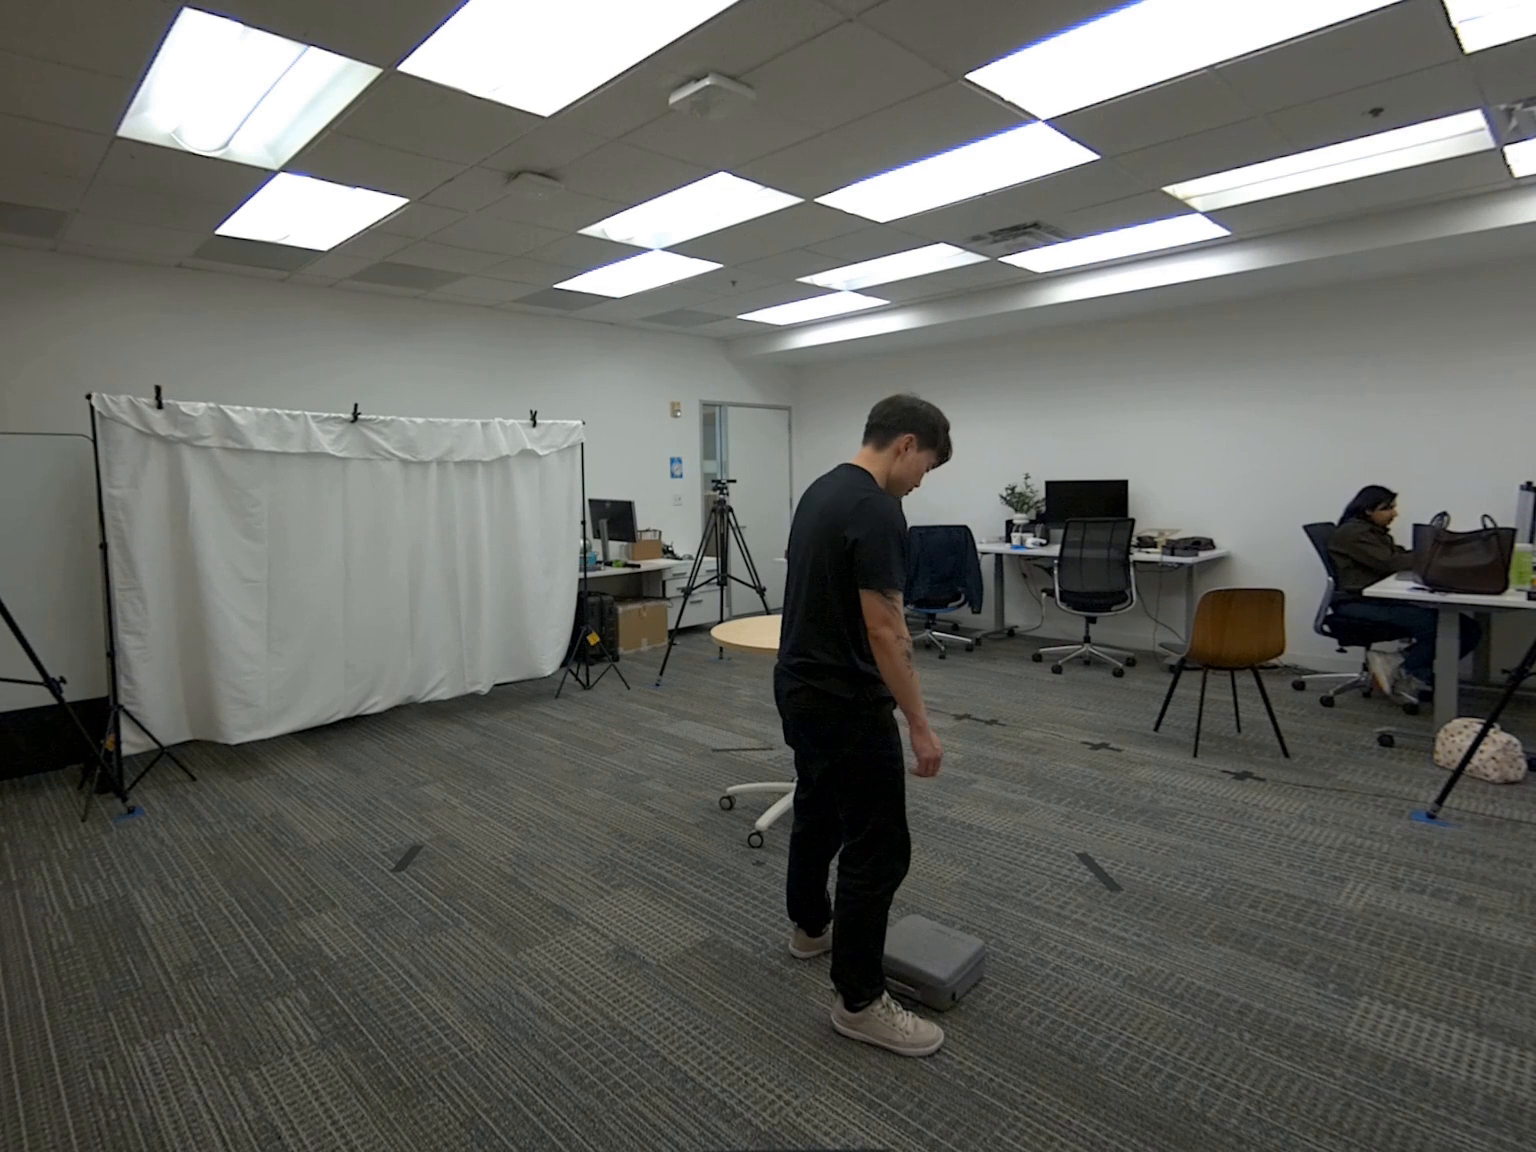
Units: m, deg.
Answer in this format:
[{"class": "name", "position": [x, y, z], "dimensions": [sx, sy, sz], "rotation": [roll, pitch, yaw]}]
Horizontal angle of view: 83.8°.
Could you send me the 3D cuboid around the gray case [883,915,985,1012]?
[{"class": "gray case", "position": [0.445, 1.065, 2.375], "dimensions": [0.265, 0.104, 0.254], "rotation": [6, 10, 41]}]
